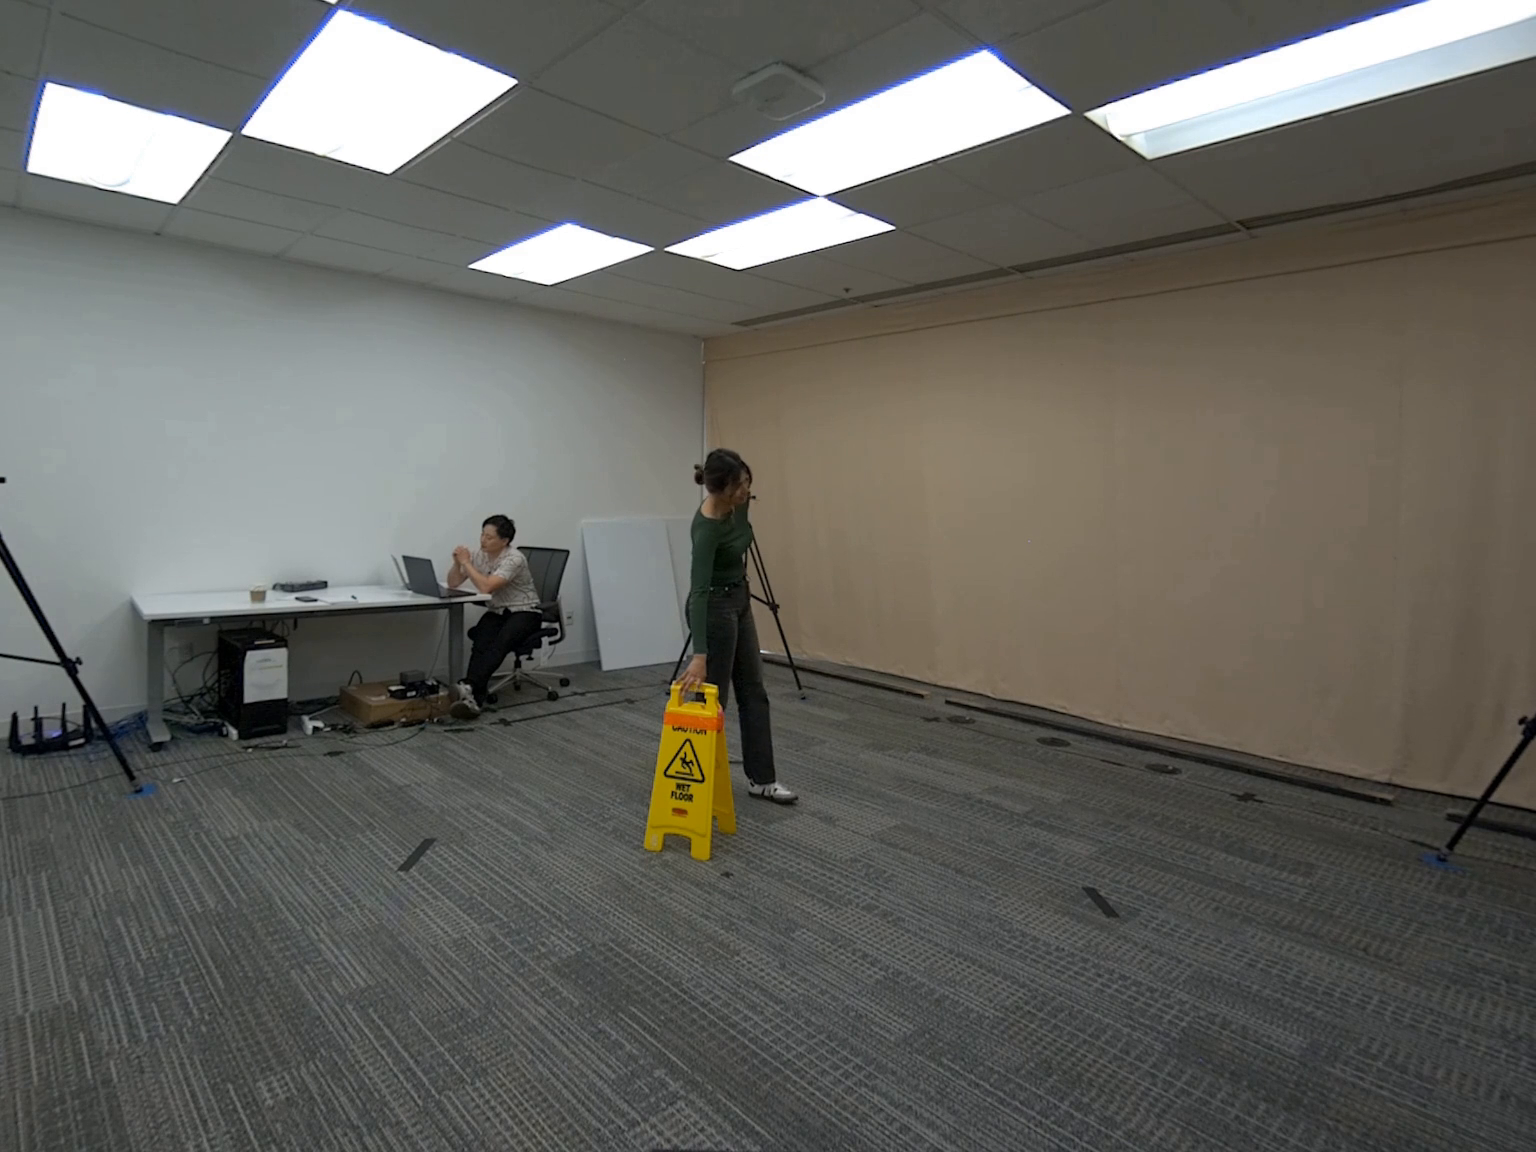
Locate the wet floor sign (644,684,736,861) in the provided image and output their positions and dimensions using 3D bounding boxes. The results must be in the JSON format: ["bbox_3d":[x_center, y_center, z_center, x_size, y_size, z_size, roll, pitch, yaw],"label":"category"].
[{"bbox_3d":[-0.316,0.752,3.385,0.287,0.644,0.286,1,4,21],"label":"wet floor sign"}]
